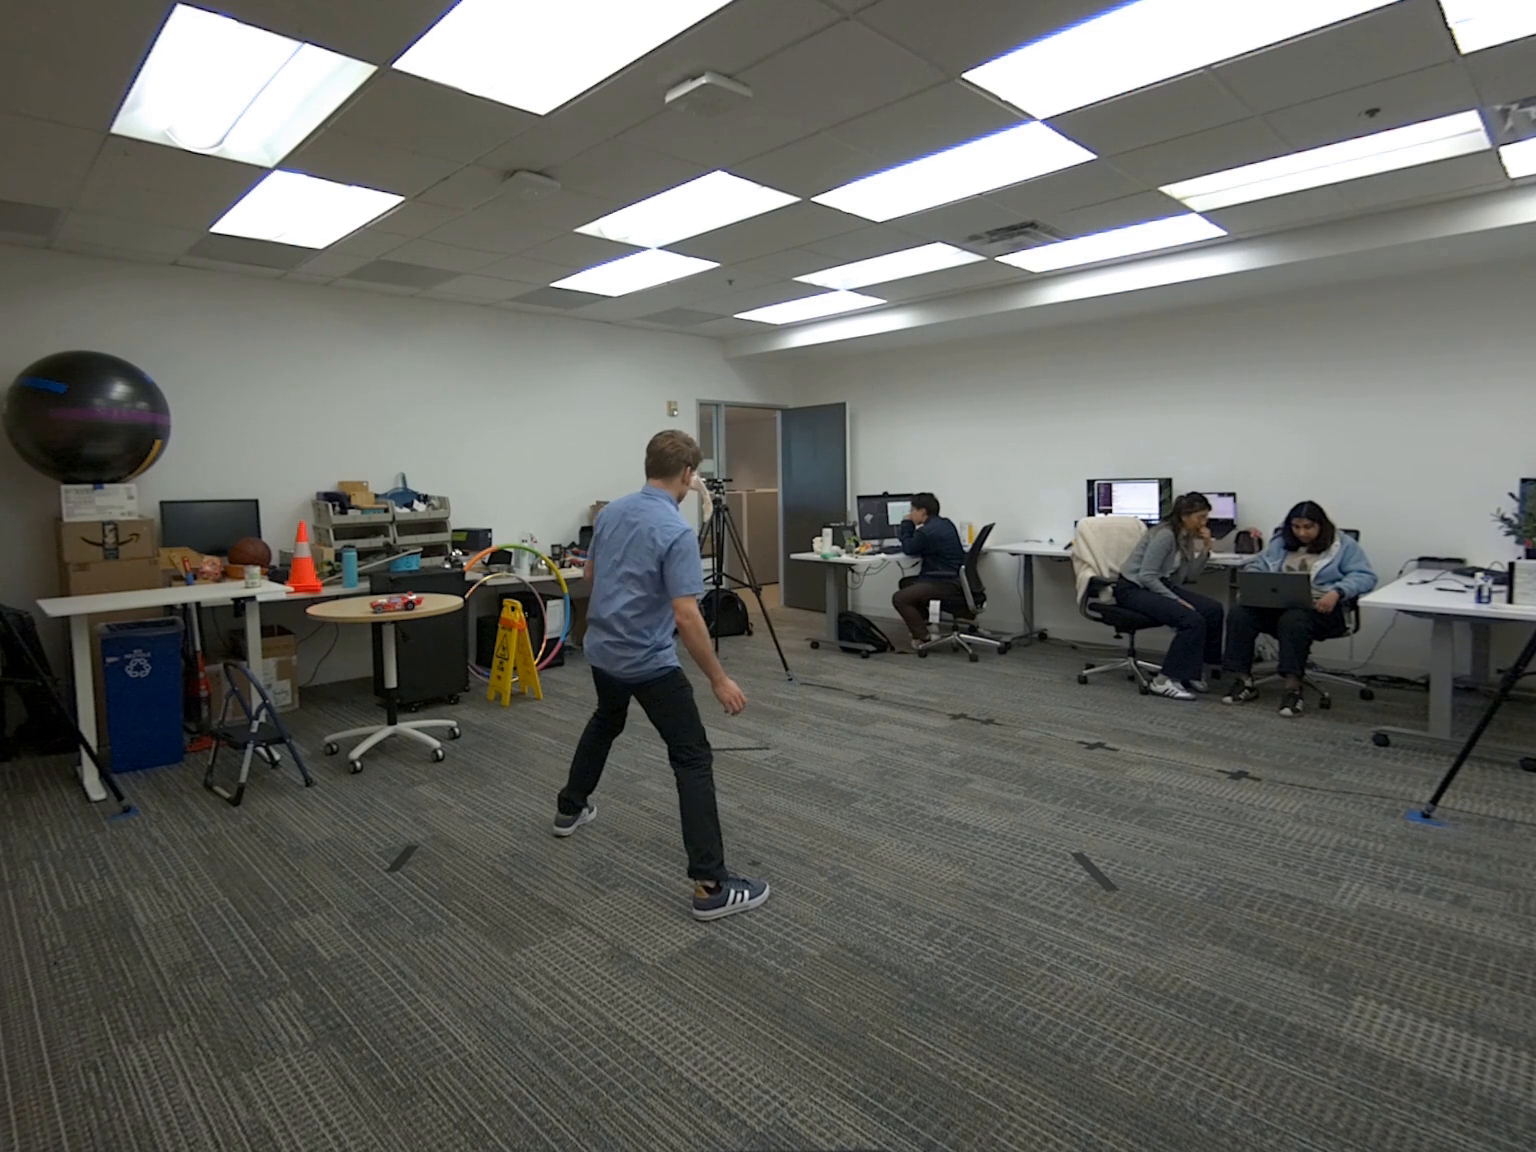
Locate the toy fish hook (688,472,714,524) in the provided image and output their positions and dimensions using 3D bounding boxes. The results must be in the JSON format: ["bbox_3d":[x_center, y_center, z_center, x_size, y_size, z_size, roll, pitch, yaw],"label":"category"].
[{"bbox_3d":[-0.332,-0.167,3.472,0.223,0.513,0.048,6,-14,-7],"label":"toy fish hook"}]
